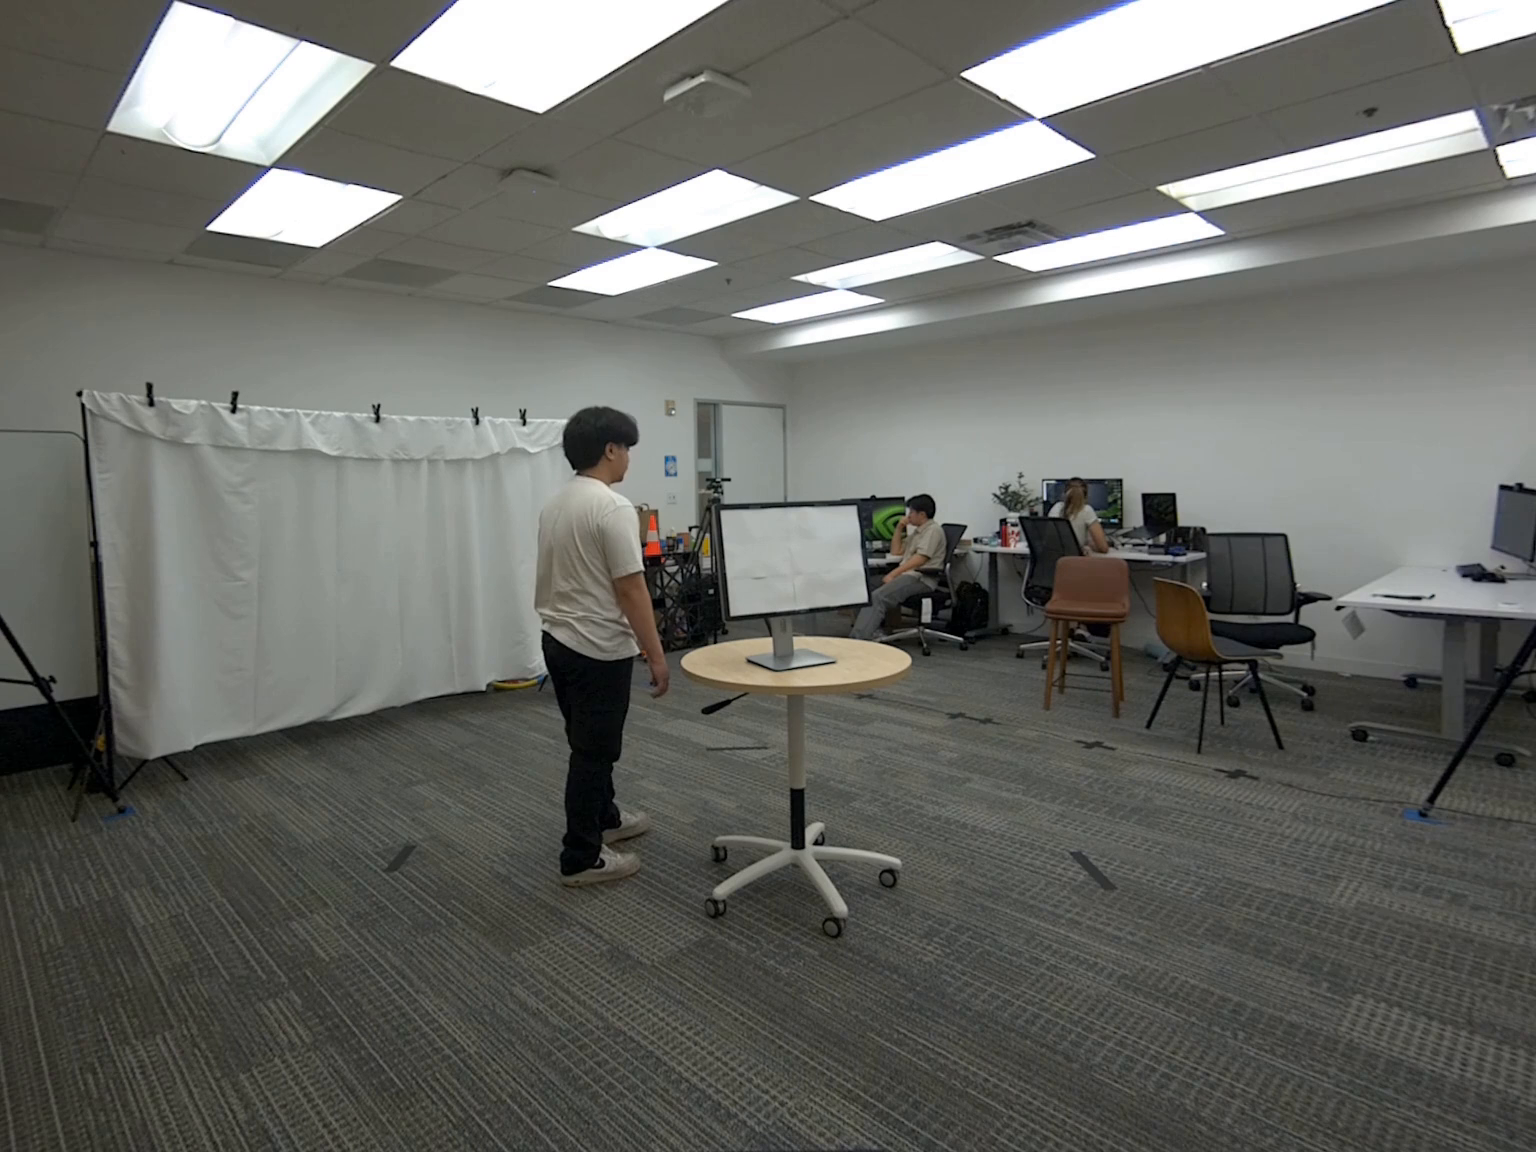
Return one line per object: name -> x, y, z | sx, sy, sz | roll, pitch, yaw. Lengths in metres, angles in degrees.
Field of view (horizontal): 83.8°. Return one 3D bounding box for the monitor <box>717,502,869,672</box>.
monitor -> 0.059, 0.028, 2.817 | 0.553, 0.554, 0.215 | -4, 1, -29
